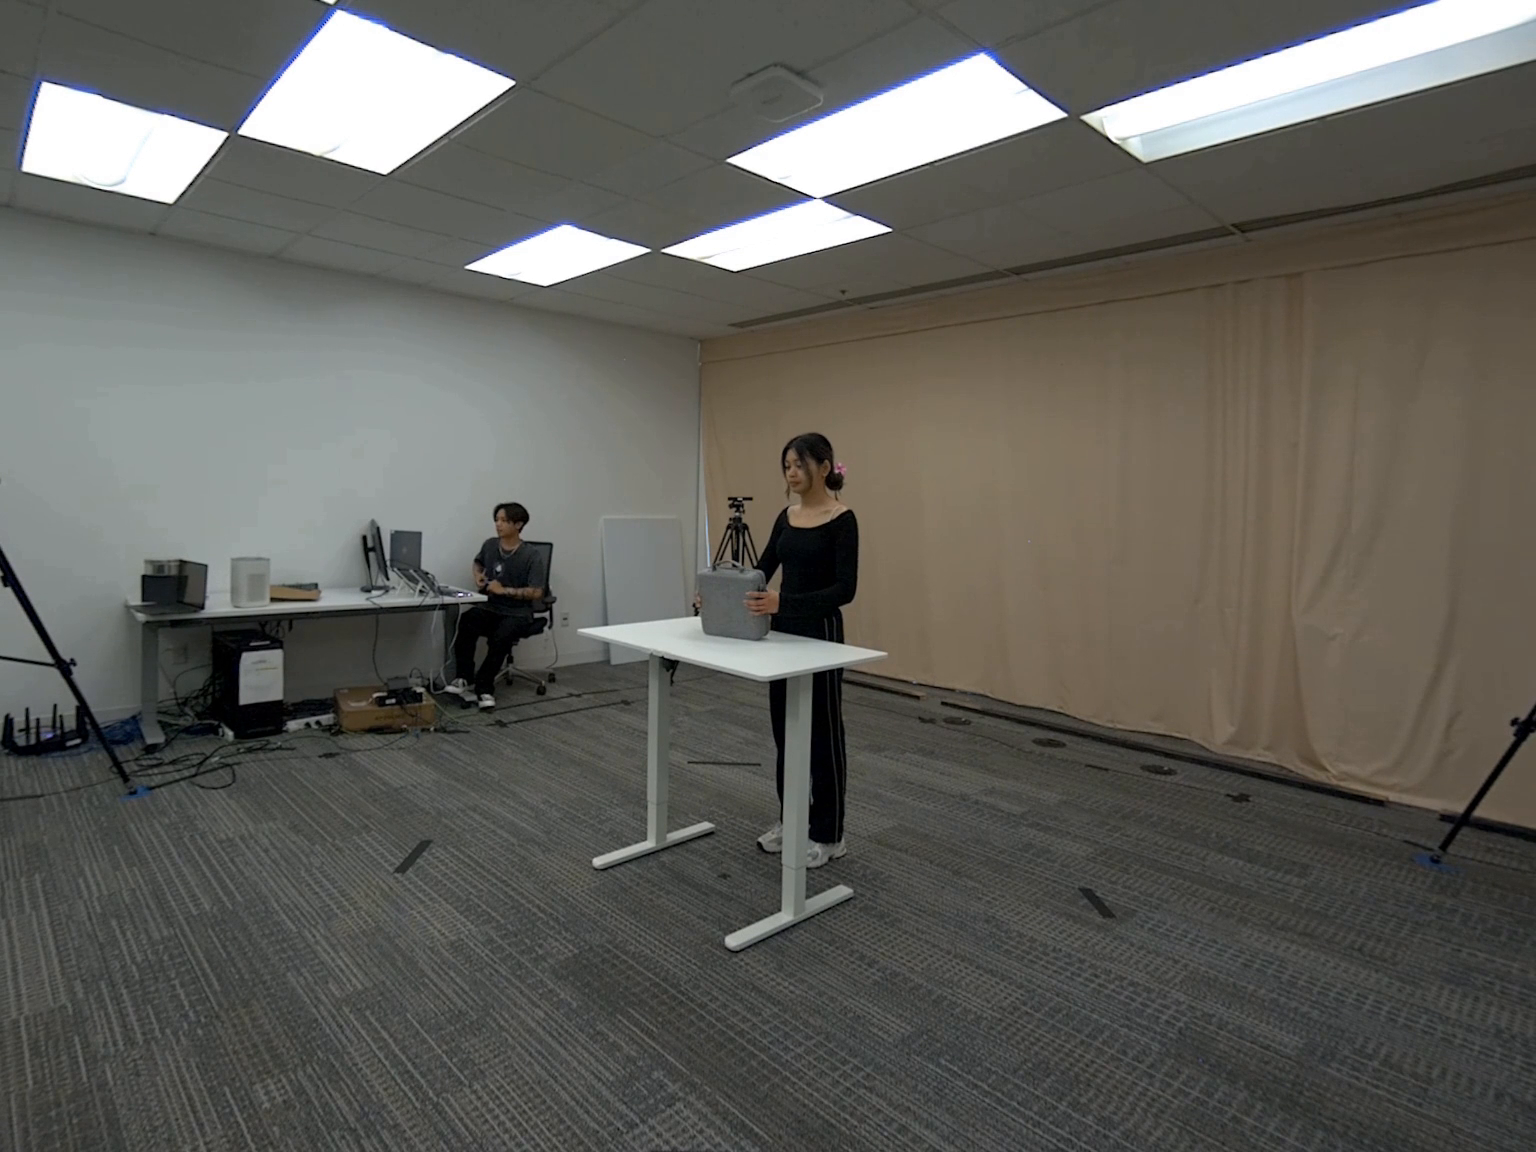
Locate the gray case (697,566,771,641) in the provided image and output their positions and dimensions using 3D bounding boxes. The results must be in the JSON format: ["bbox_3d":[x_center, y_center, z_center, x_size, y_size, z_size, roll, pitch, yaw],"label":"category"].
[{"bbox_3d":[-0.135,0.097,3.080,0.262,0.258,0.103,3,16,30],"label":"gray case"}]
